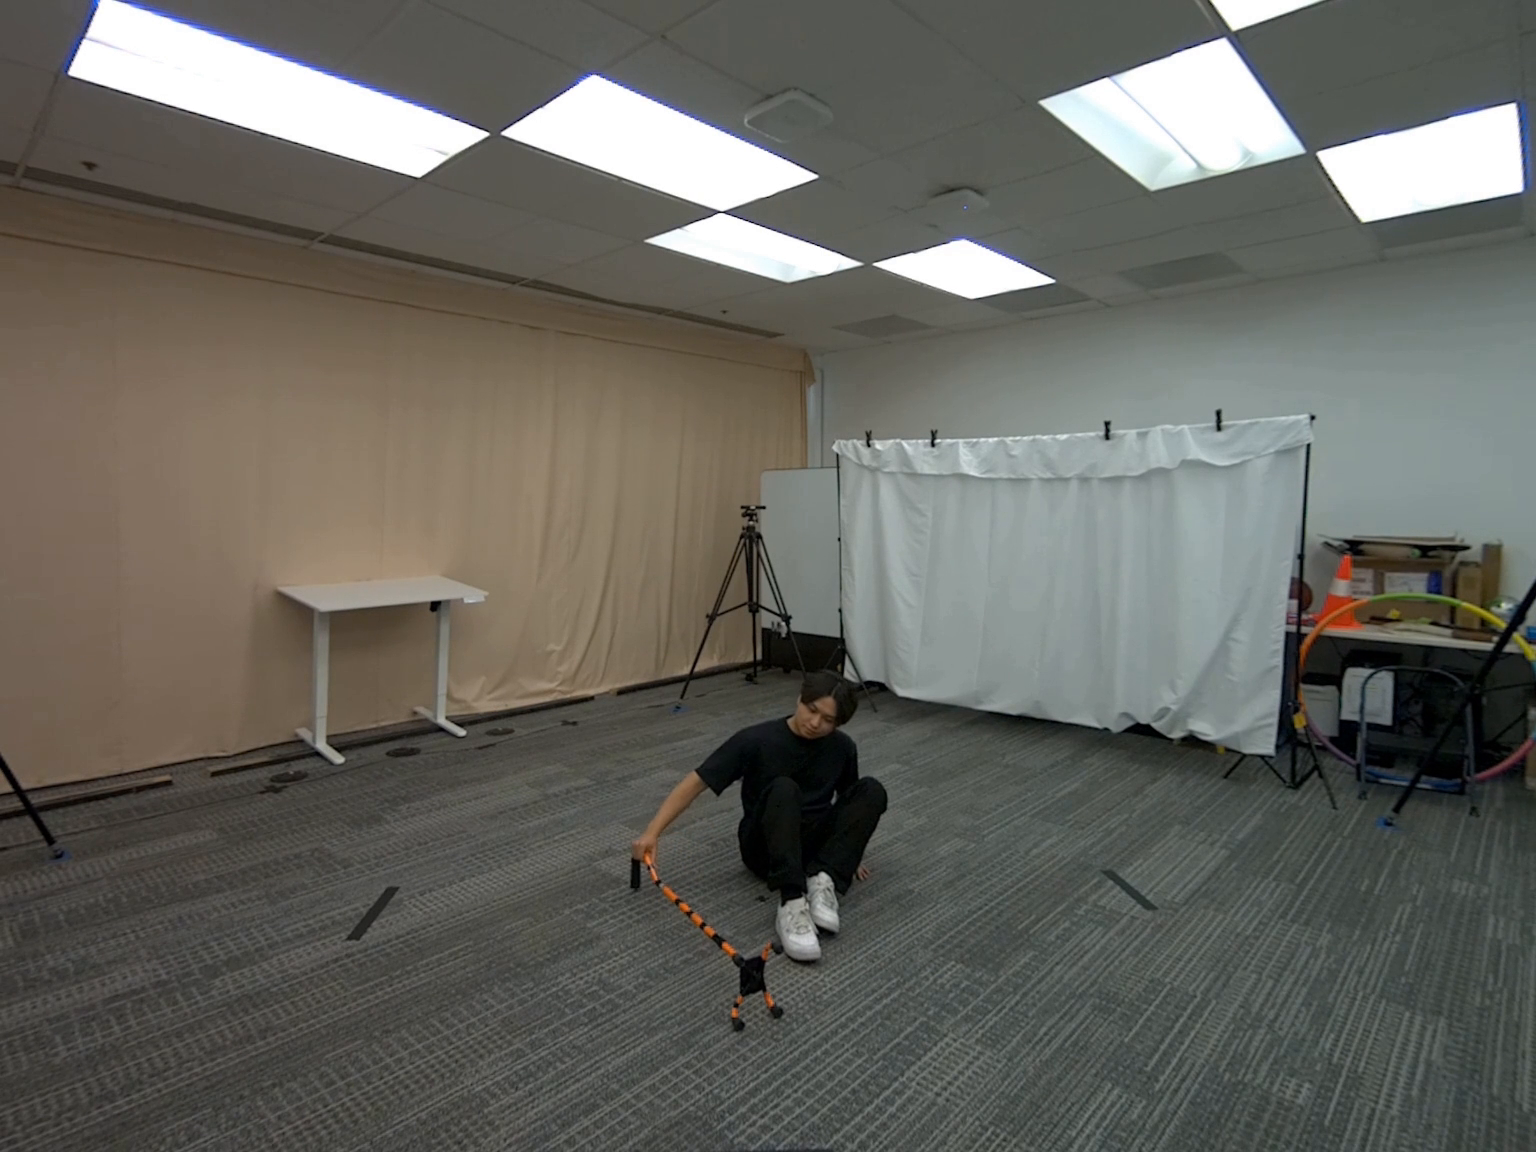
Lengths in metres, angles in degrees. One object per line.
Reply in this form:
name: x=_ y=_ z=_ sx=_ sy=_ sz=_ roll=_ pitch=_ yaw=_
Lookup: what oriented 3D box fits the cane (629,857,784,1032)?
cane: x=-0.257 y=1.047 z=2.647 sx=0.148 sy=0.206 sz=0.935 roll=-4 pitch=7 yaw=-30
